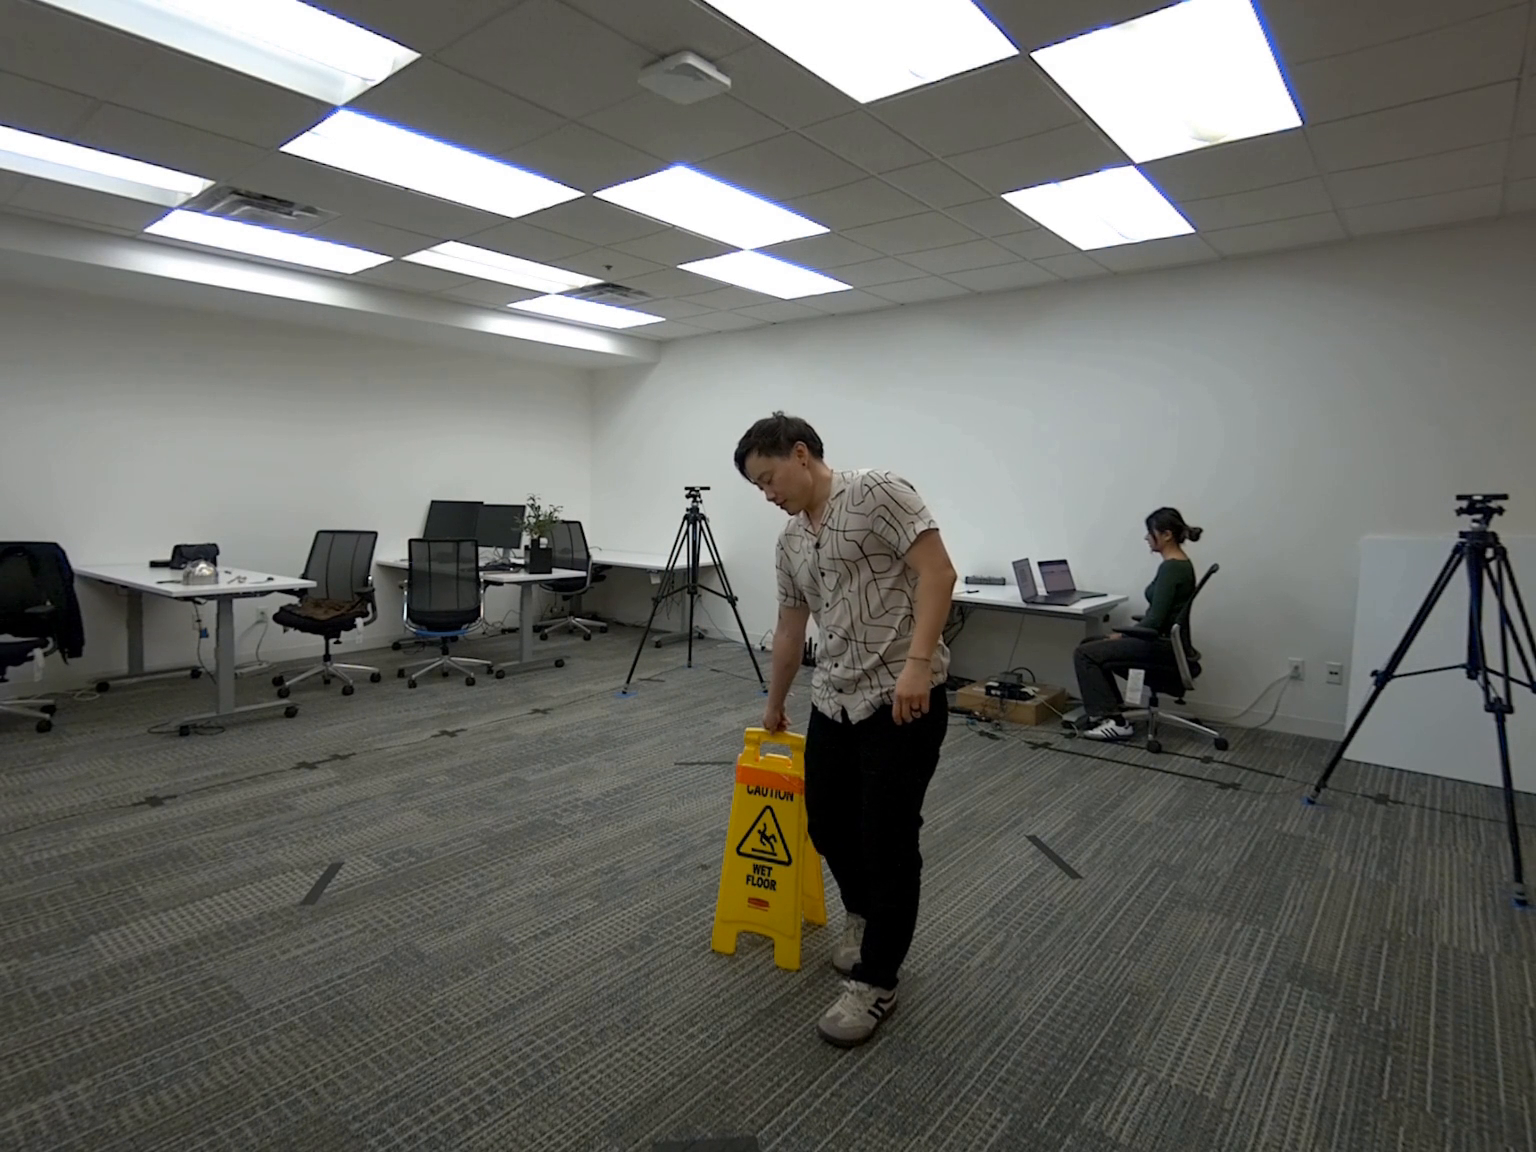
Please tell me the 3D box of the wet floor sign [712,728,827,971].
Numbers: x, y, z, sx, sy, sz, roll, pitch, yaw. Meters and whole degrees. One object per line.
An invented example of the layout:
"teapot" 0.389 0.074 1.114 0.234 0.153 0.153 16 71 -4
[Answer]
"wet floor sign" 0.008 0.793 2.626 0.289 0.645 0.283 4 3 22
